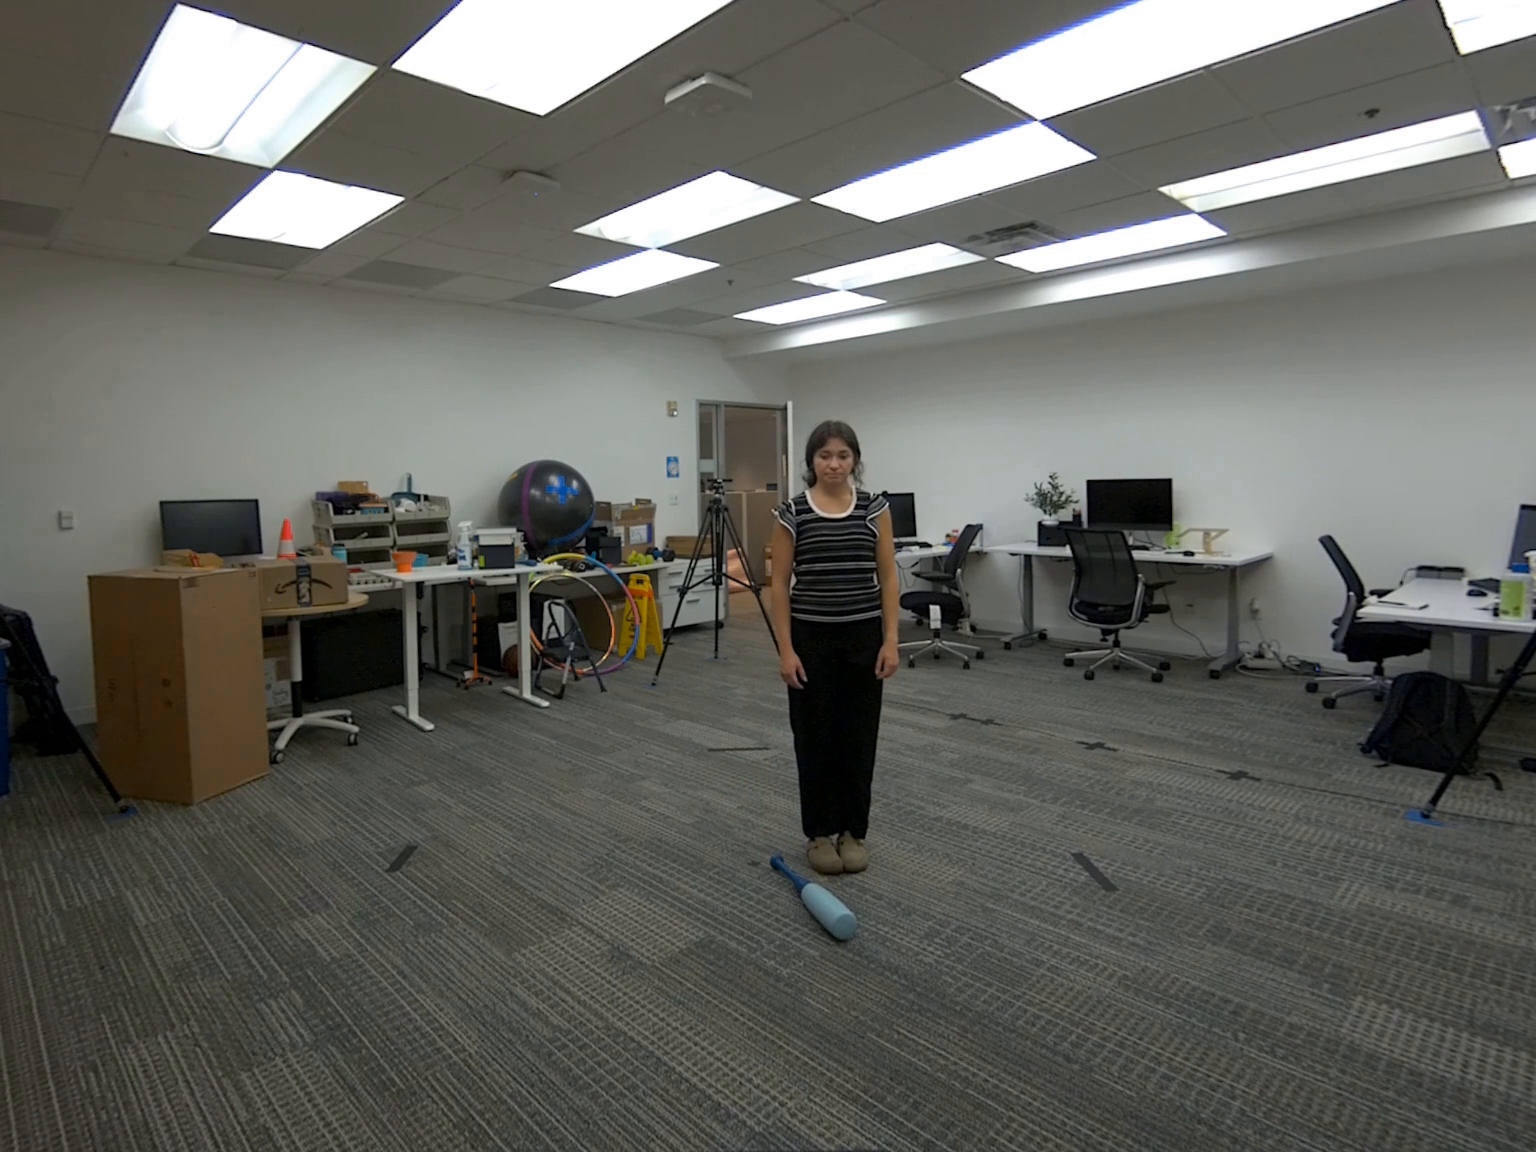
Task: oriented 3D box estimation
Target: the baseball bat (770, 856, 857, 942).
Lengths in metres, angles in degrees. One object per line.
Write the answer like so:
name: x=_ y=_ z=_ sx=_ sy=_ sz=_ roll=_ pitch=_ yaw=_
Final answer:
baseball bat: x=0.134 y=1.040 z=2.810 sx=0.087 sy=0.089 sz=0.554 roll=-3 pitch=4 yaw=-21
